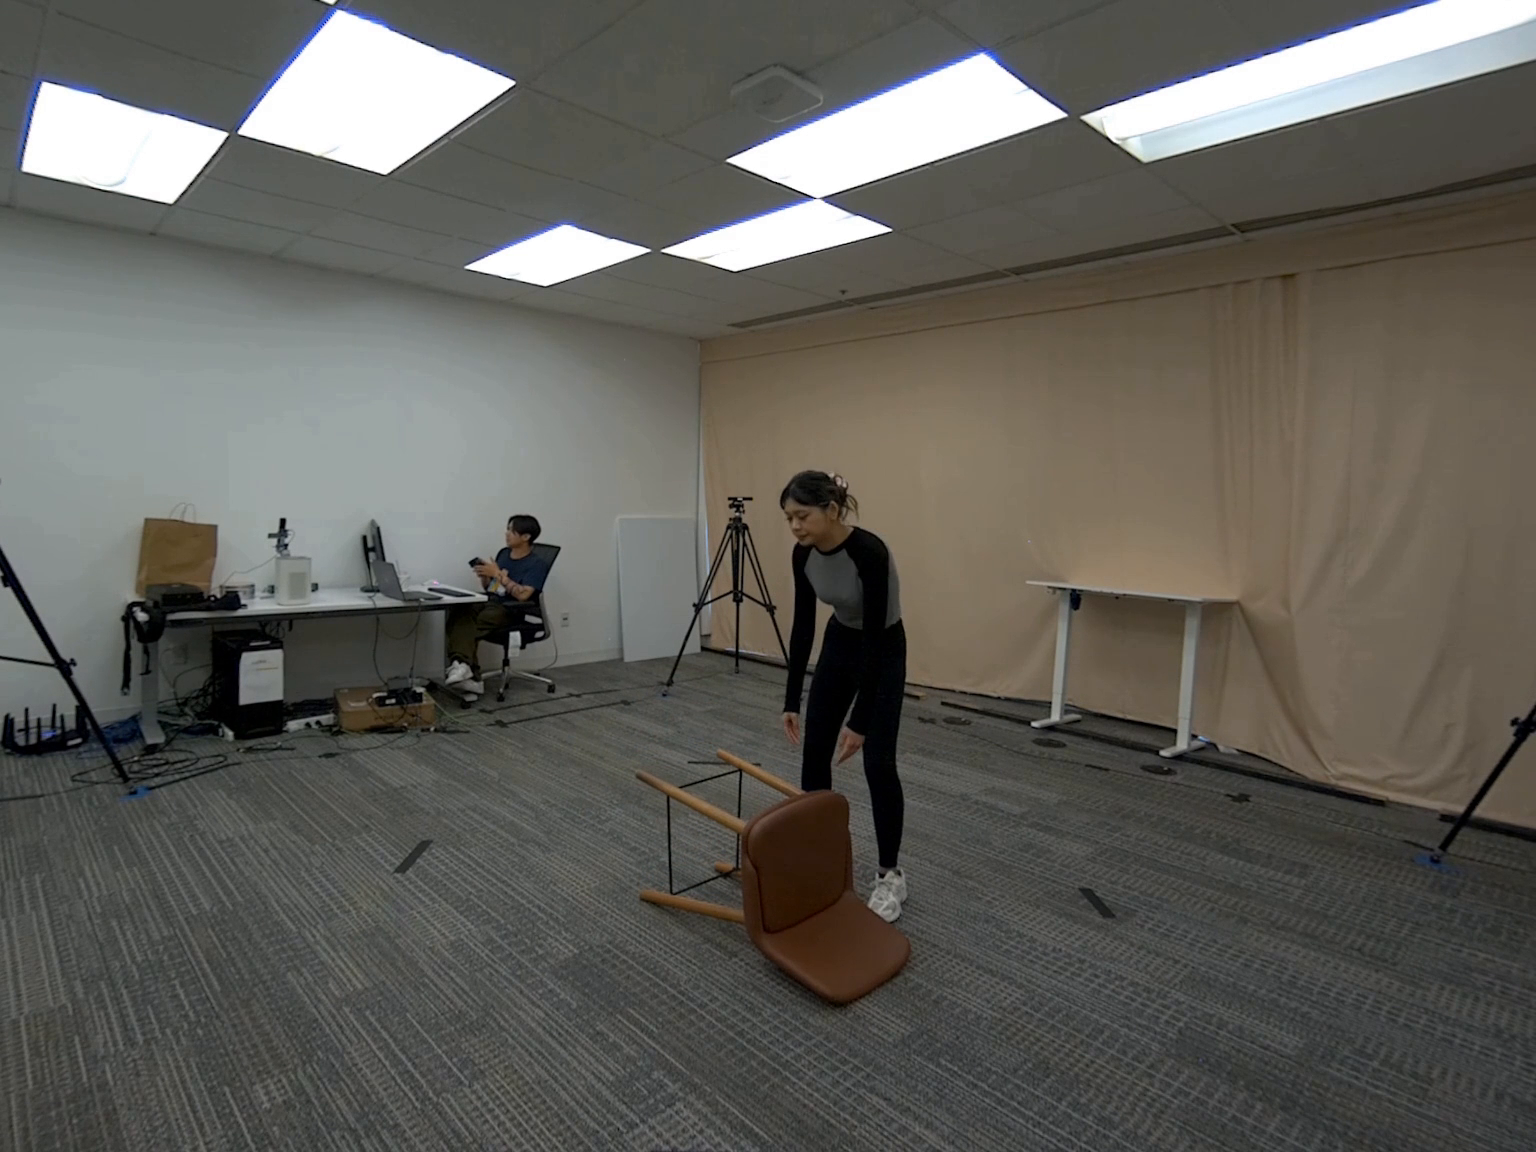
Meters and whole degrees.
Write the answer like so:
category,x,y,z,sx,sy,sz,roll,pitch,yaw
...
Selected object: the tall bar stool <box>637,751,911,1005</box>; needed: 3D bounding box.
category,x,y,z,sx,sy,sz,roll,pitch,yaw
tall bar stool,-0.008,0.918,2.710,0.446,0.466,0.913,-2,6,-44
